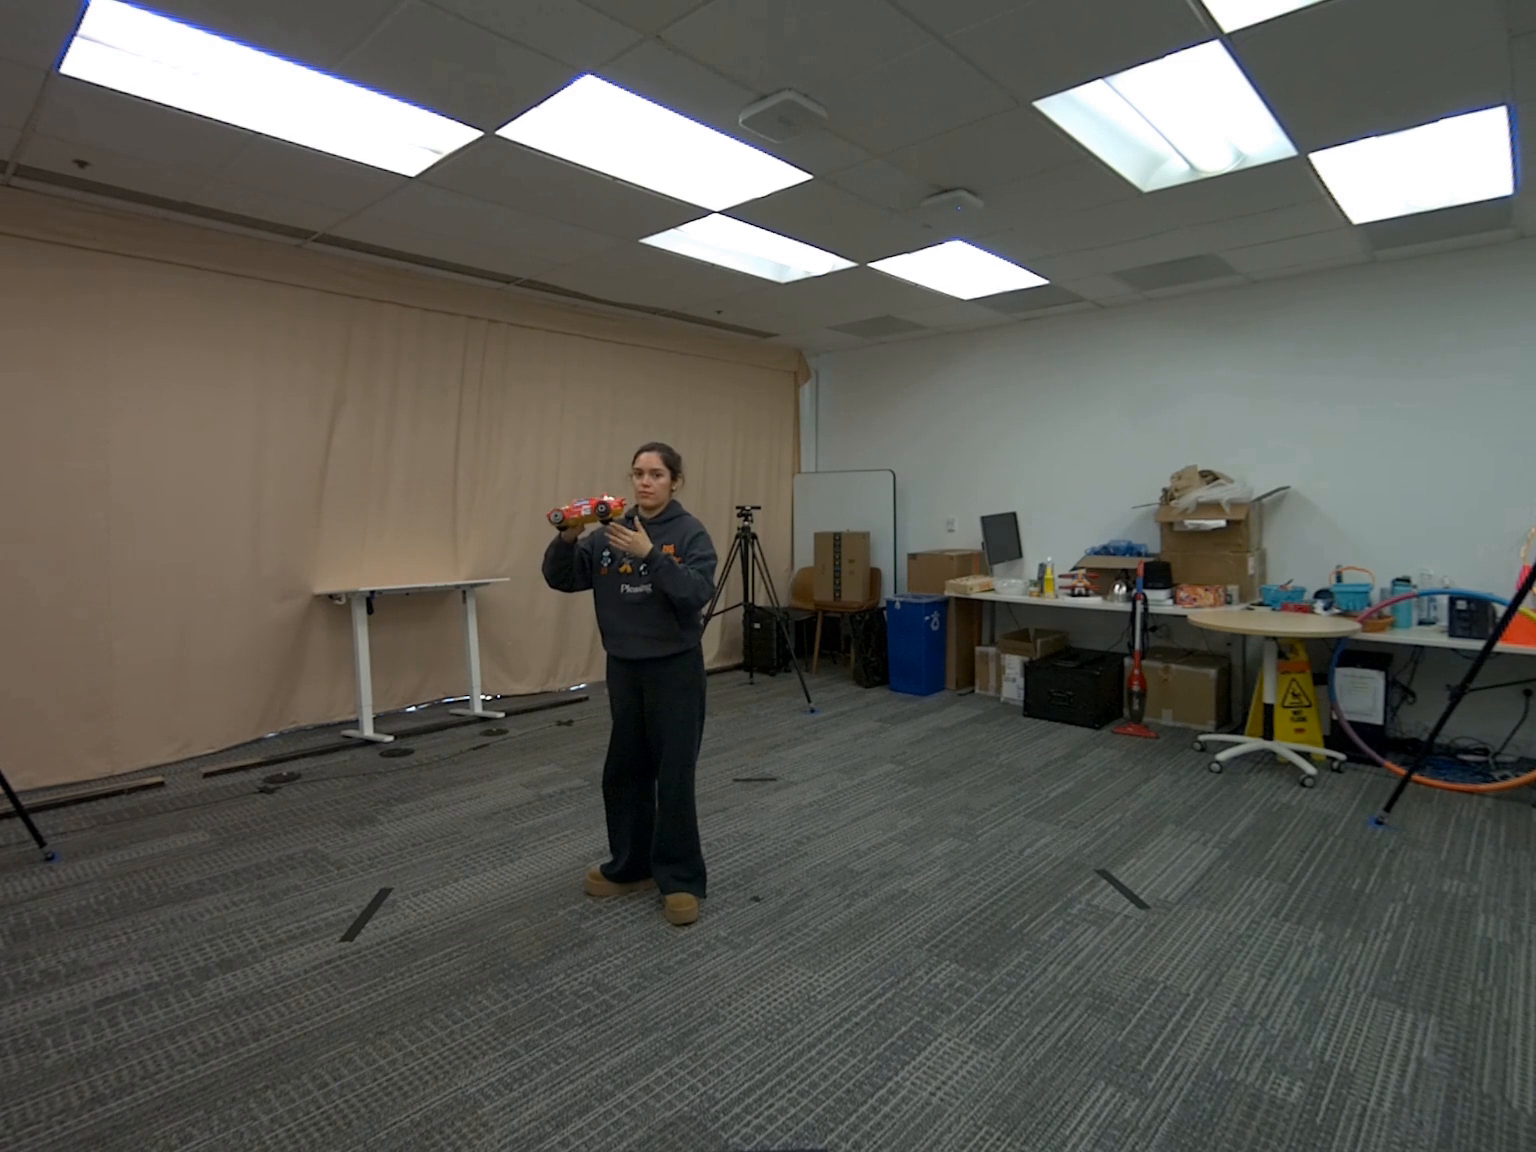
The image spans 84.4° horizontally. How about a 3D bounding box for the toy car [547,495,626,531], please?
[{"bbox_3d":[-0.578,-0.190,2.718,0.254,0.084,0.129,-20,-12,-5],"label":"toy car"}]
